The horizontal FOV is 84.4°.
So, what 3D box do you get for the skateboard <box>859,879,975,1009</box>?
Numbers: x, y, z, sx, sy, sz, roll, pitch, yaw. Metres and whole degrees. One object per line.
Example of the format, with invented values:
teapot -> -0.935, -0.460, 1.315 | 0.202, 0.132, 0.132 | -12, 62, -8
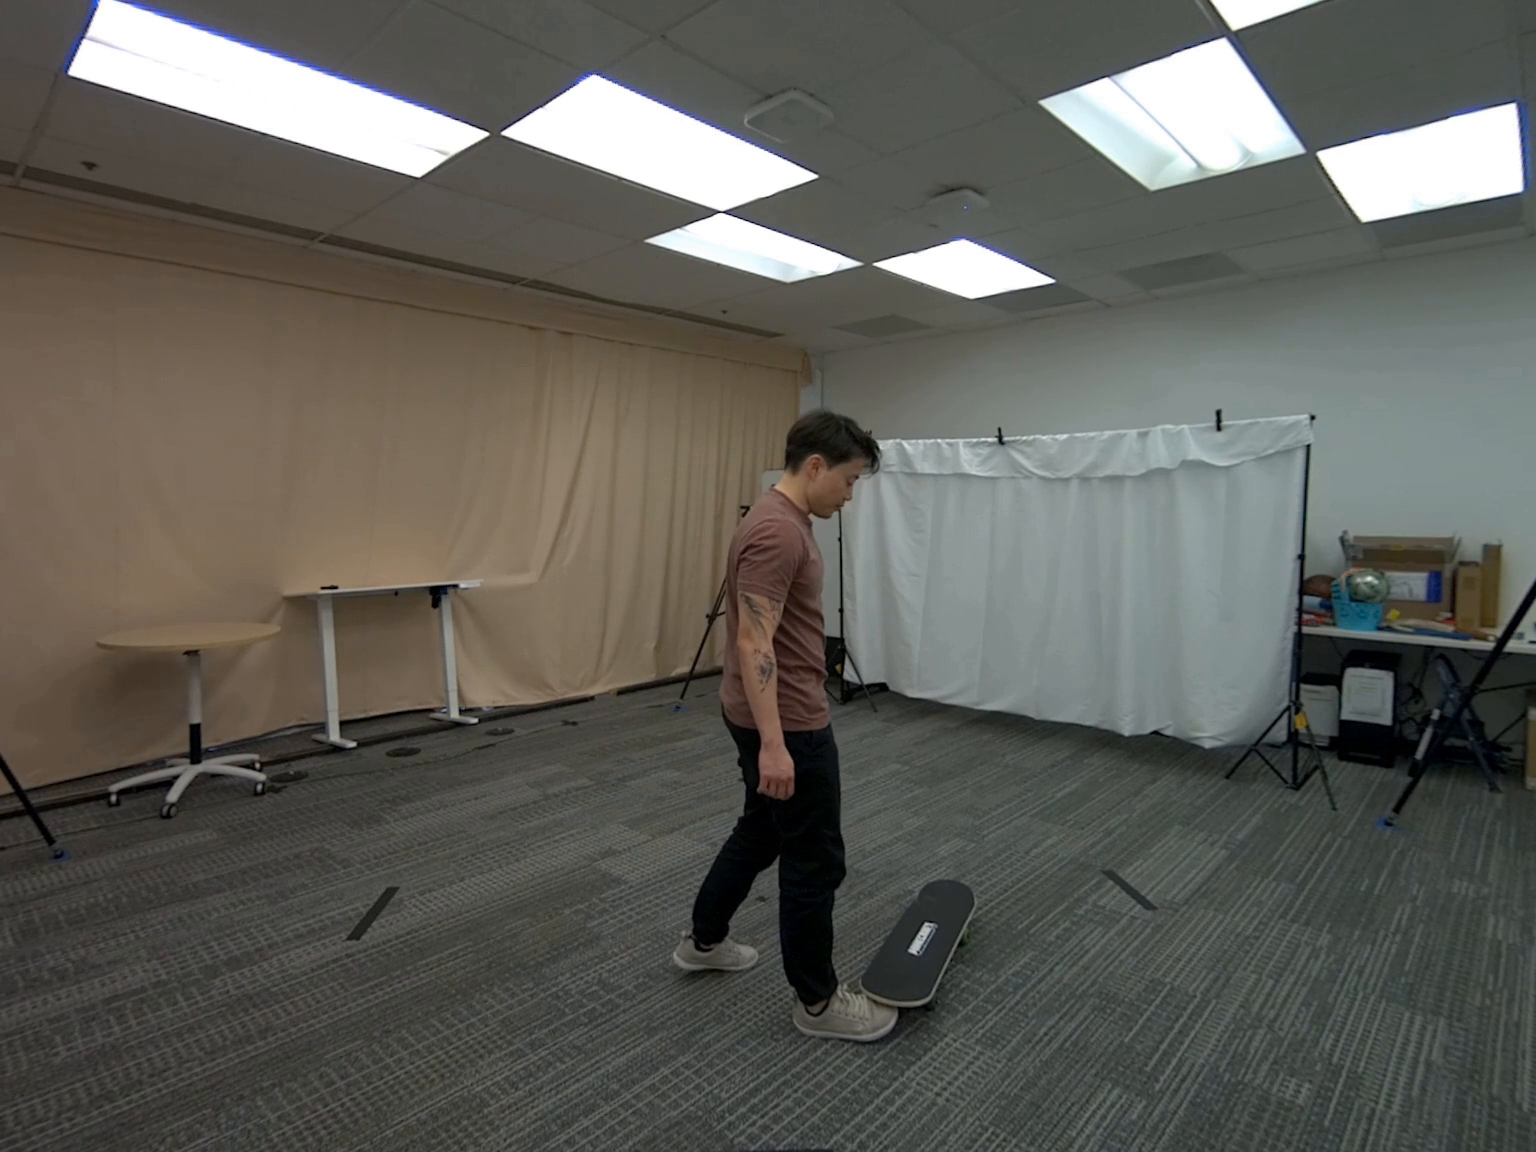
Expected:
skateboard -> 0.472, 1.125, 2.536 | 0.198, 0.110, 0.767 | 1, 5, 26
